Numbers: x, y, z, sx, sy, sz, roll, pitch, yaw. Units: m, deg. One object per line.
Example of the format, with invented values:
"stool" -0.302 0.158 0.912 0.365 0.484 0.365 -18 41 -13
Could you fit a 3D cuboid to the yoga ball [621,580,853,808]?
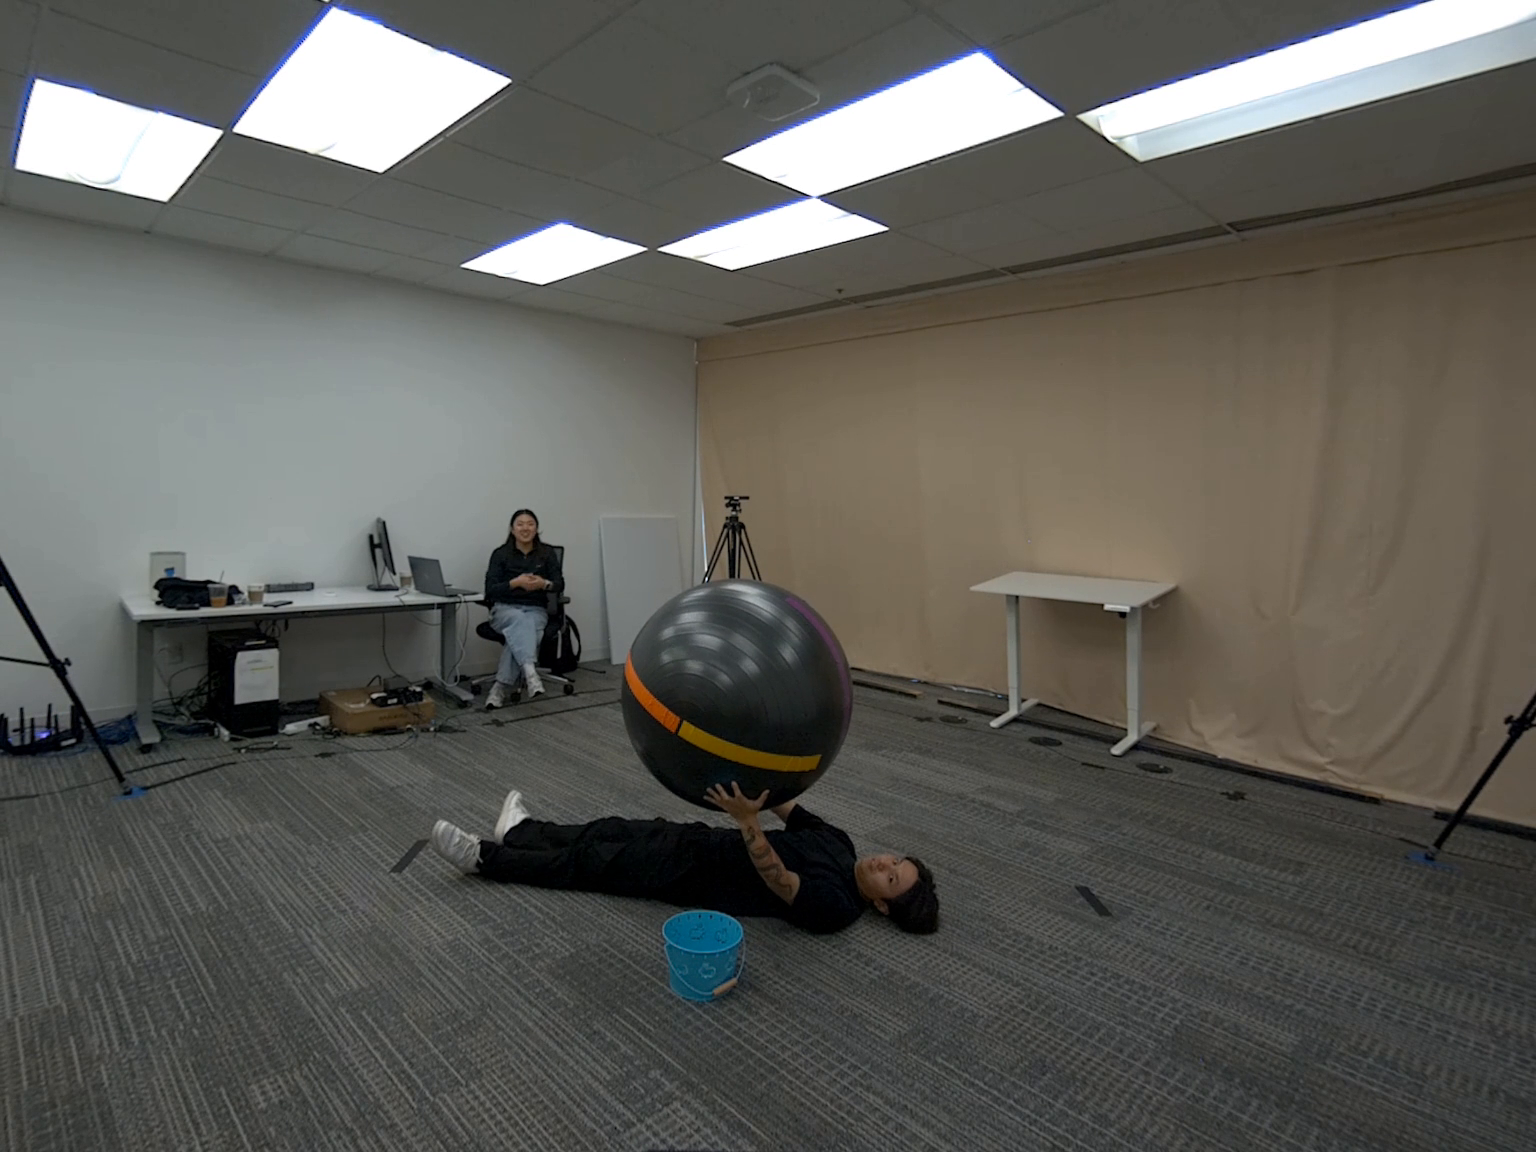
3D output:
"yoga ball" -0.102 0.397 2.784 0.757 0.756 0.761 1 4 -1
